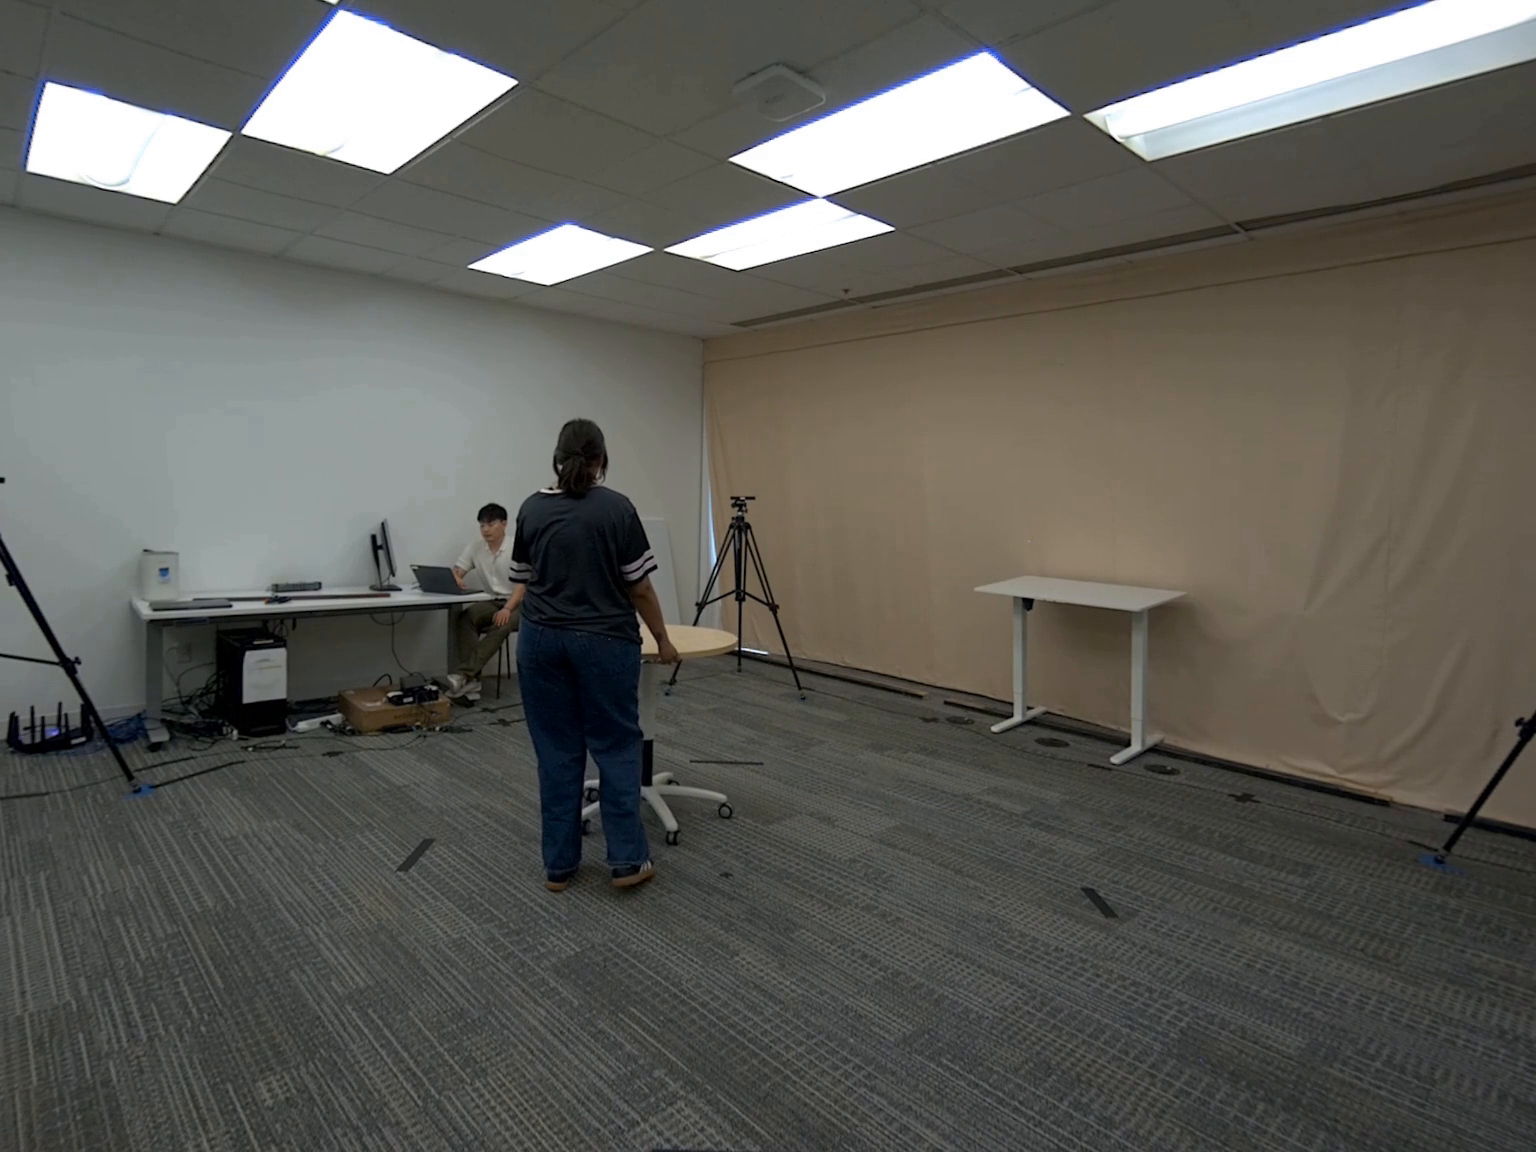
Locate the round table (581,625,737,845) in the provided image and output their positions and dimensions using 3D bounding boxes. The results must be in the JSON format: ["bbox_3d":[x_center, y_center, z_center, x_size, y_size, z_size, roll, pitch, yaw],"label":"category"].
[{"bbox_3d":[-0.521,0.662,3.639,0.763,0.792,0.766,1,4,-1],"label":"round table"}]
